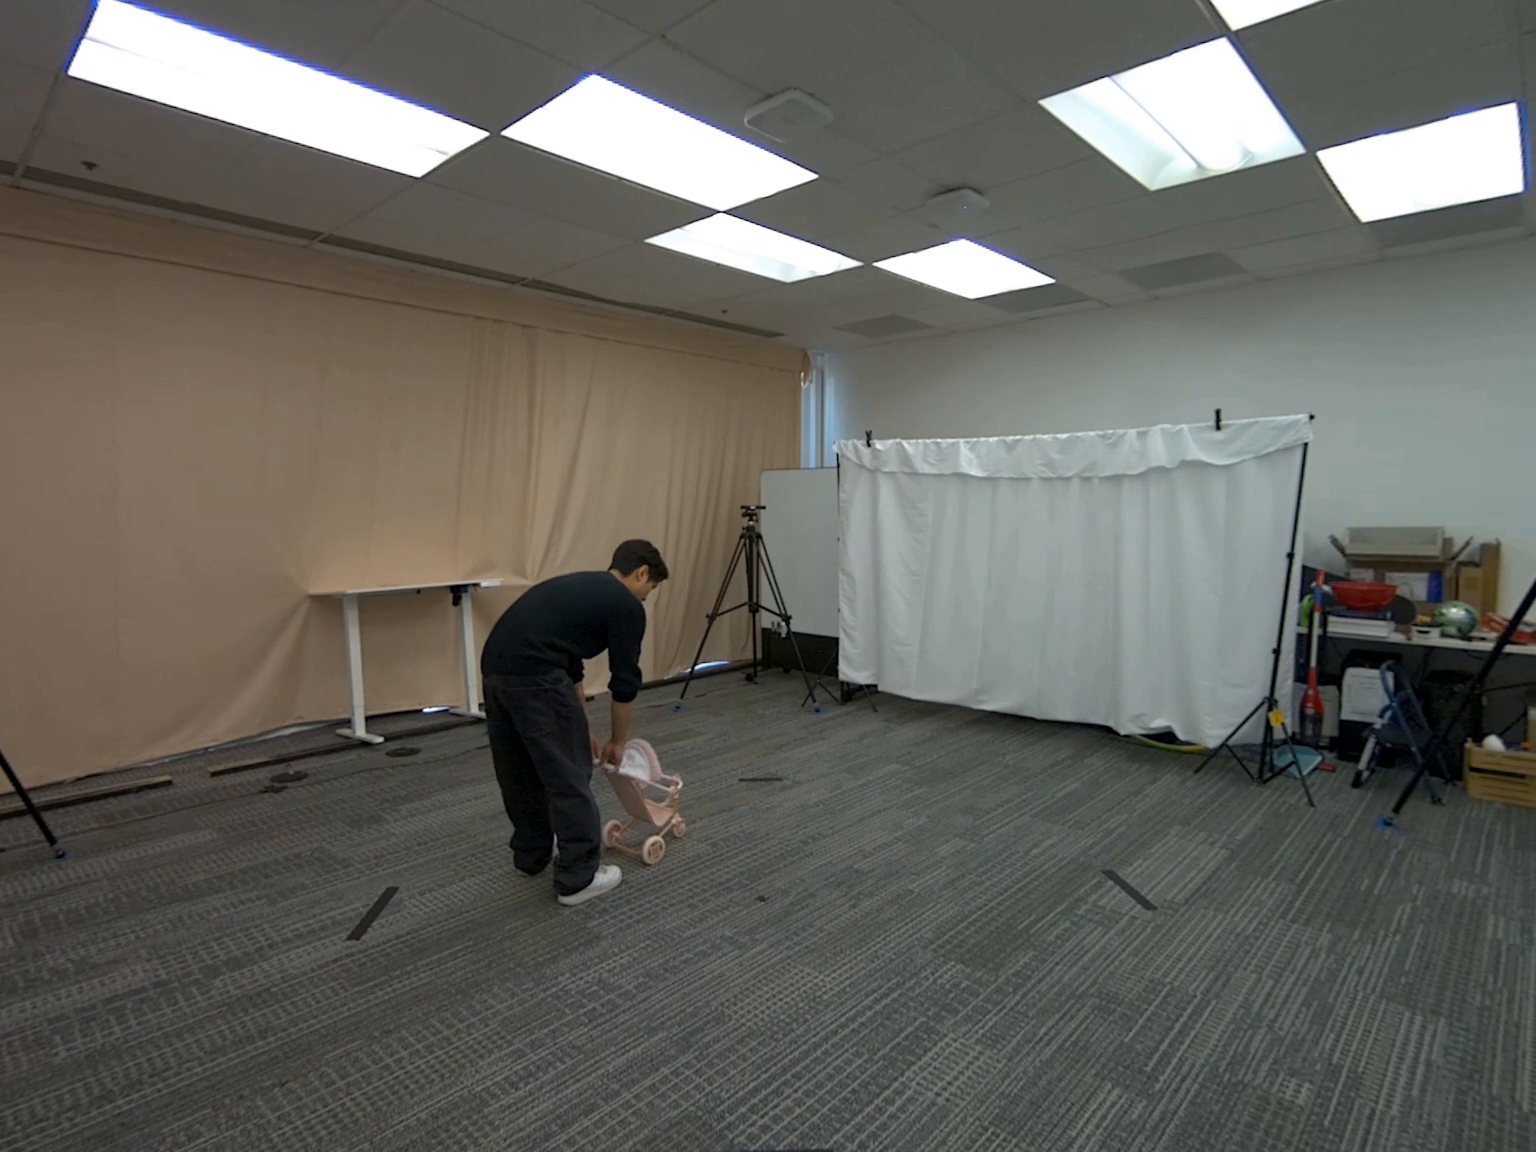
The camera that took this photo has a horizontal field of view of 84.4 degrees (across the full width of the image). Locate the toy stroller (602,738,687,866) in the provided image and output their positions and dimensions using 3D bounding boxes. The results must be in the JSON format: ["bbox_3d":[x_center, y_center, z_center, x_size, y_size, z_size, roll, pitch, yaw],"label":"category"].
[{"bbox_3d":[-0.500,0.890,3.399,0.291,0.528,0.334,3,22,45],"label":"toy stroller"}]
